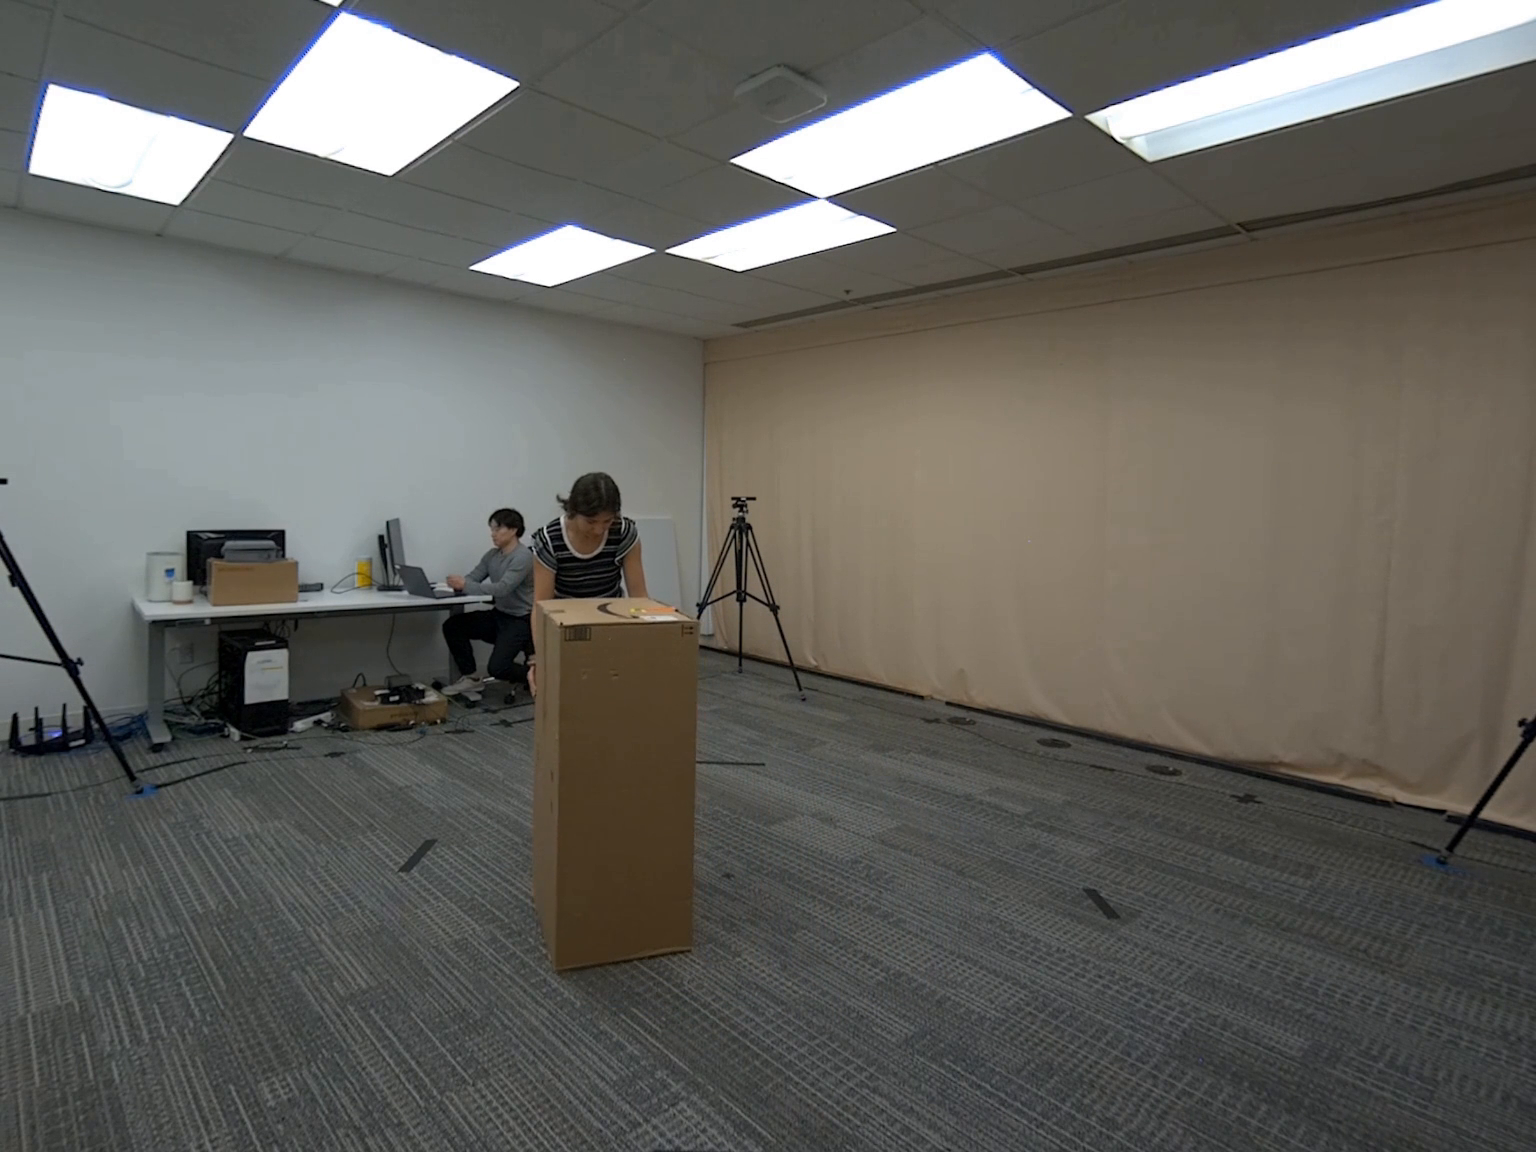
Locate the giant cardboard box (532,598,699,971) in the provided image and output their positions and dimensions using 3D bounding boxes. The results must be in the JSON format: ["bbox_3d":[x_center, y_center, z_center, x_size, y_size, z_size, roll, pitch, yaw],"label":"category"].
[{"bbox_3d":[-0.521,0.619,2.754,0.419,1.024,0.588,0,3,-22],"label":"giant cardboard box"}]
